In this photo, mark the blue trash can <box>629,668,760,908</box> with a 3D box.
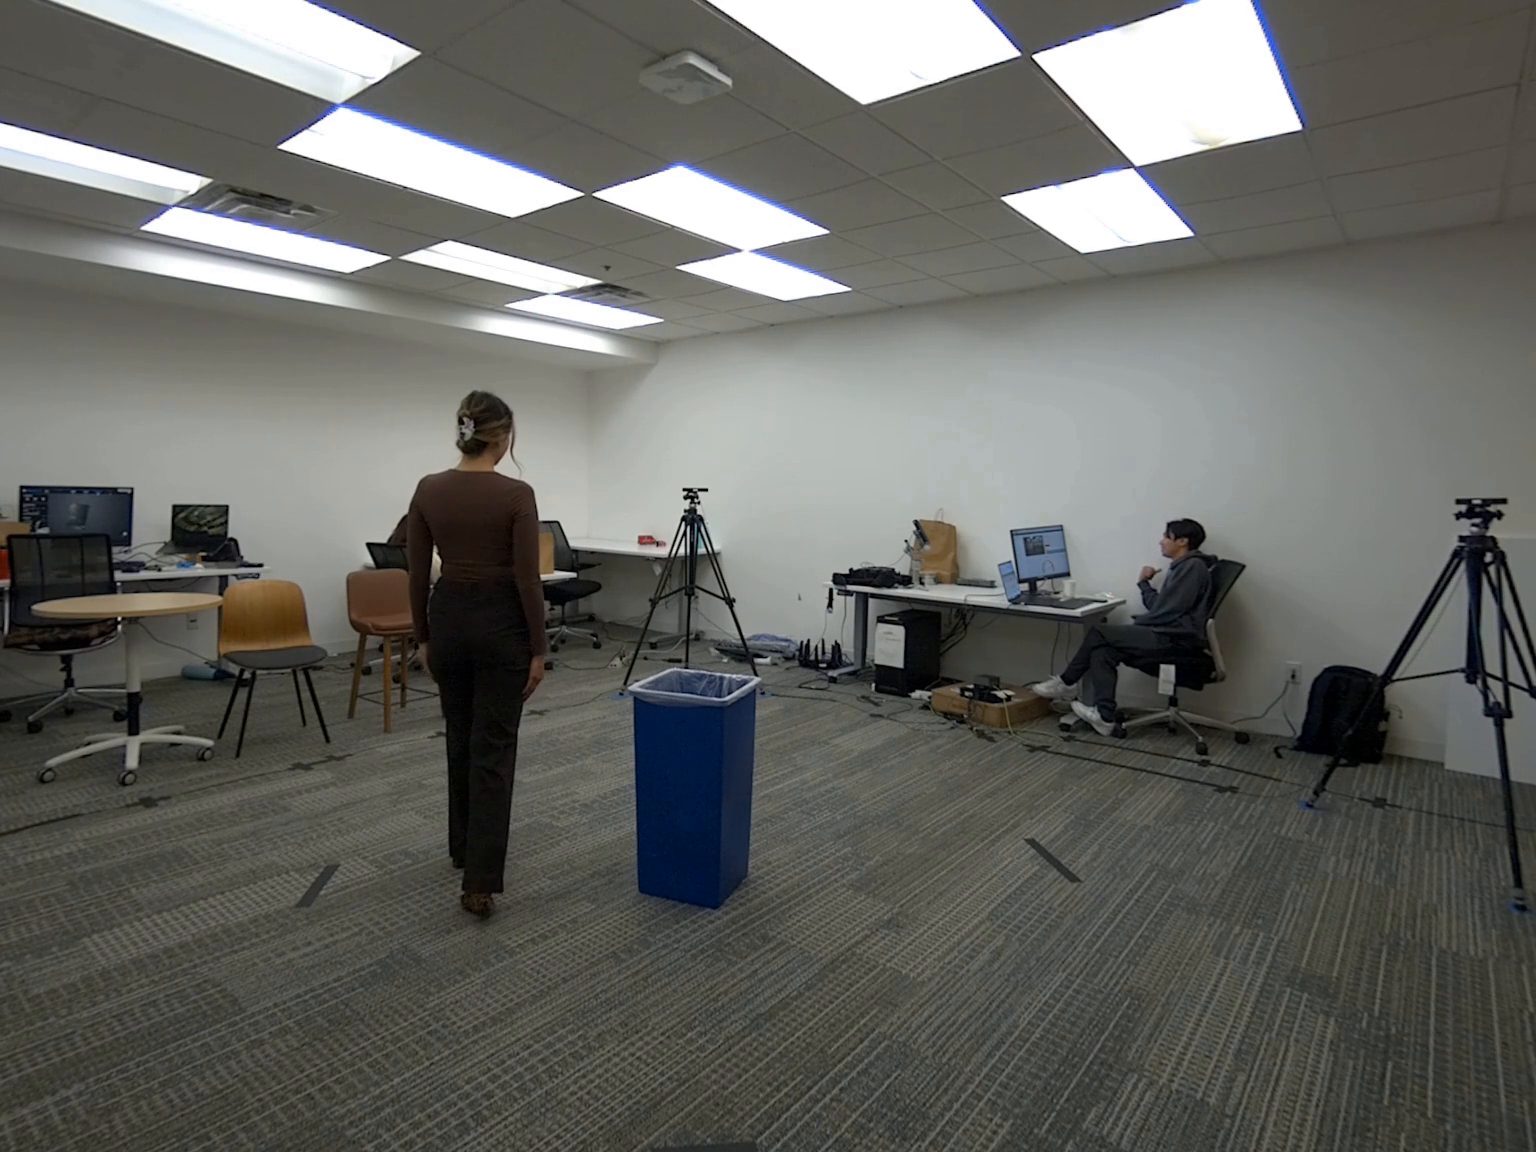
[{"bbox_3d":[-0.259,0.723,2.983,0.382,0.712,0.371,1,3,20],"label":"blue trash can"}]
